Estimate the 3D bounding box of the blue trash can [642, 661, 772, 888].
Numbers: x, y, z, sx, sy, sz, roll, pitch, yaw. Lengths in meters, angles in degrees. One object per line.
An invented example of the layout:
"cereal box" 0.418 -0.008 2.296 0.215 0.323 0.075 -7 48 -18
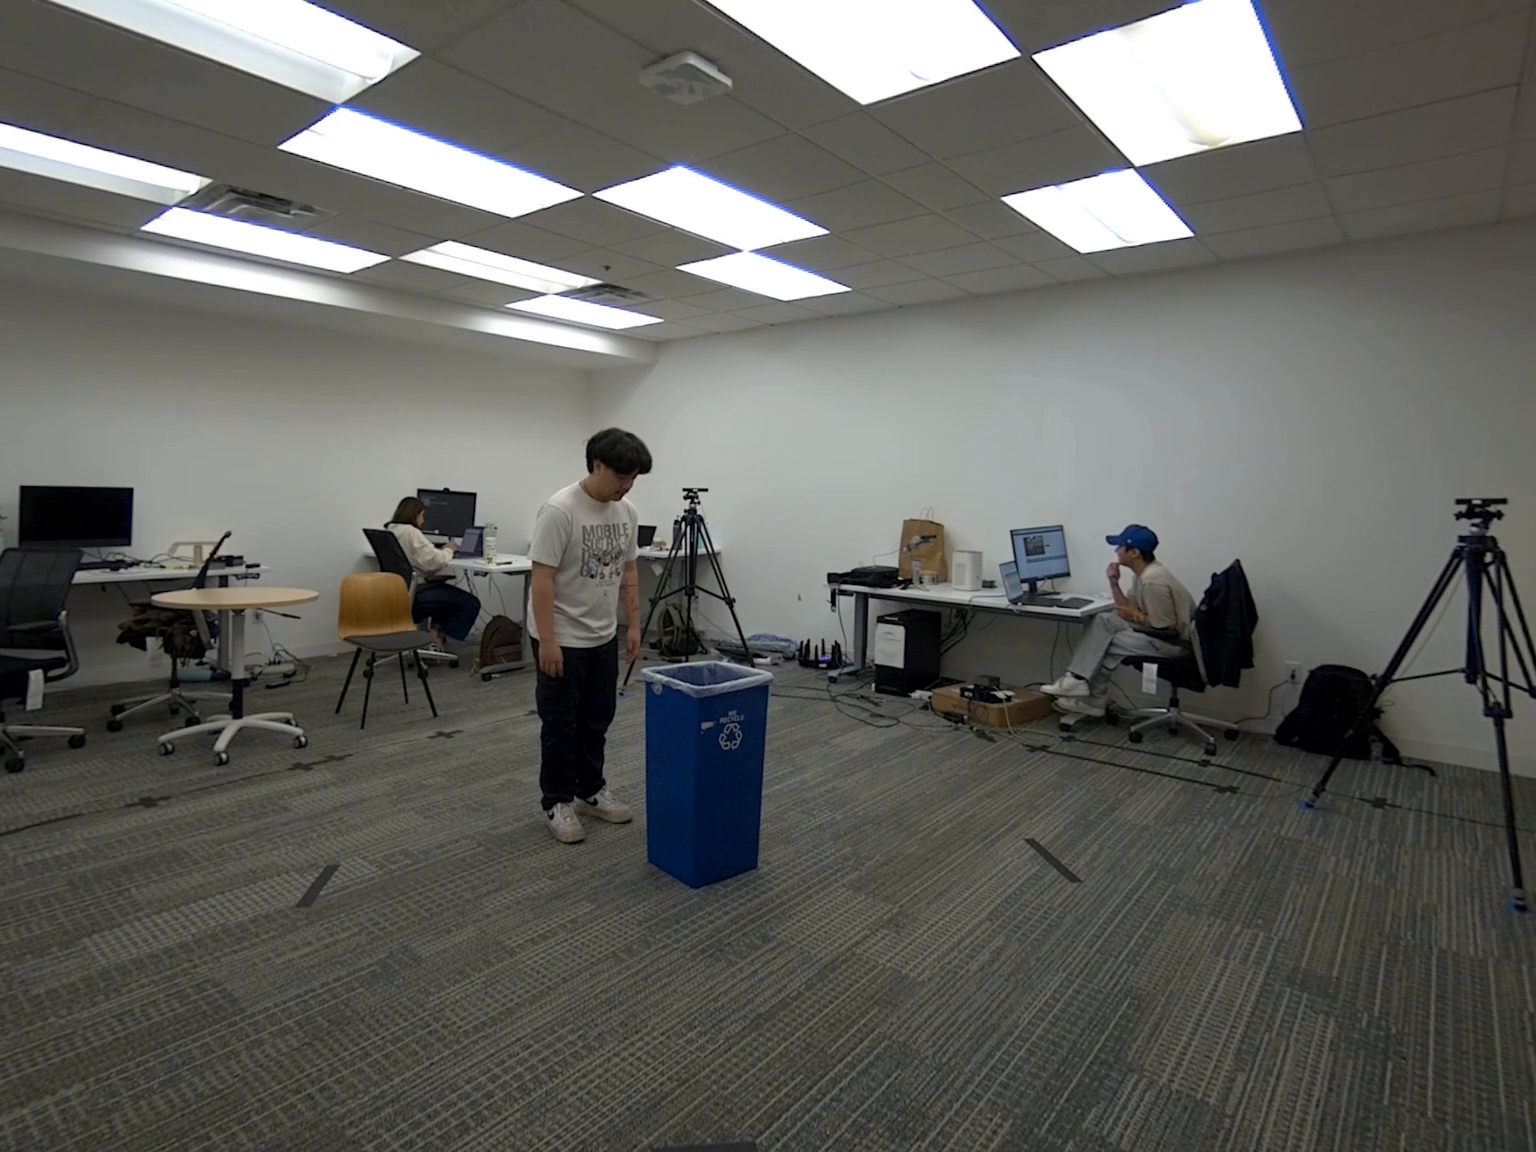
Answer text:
"blue trash can" -0.240 0.707 3.145 0.363 0.711 0.391 -2 4 -41
